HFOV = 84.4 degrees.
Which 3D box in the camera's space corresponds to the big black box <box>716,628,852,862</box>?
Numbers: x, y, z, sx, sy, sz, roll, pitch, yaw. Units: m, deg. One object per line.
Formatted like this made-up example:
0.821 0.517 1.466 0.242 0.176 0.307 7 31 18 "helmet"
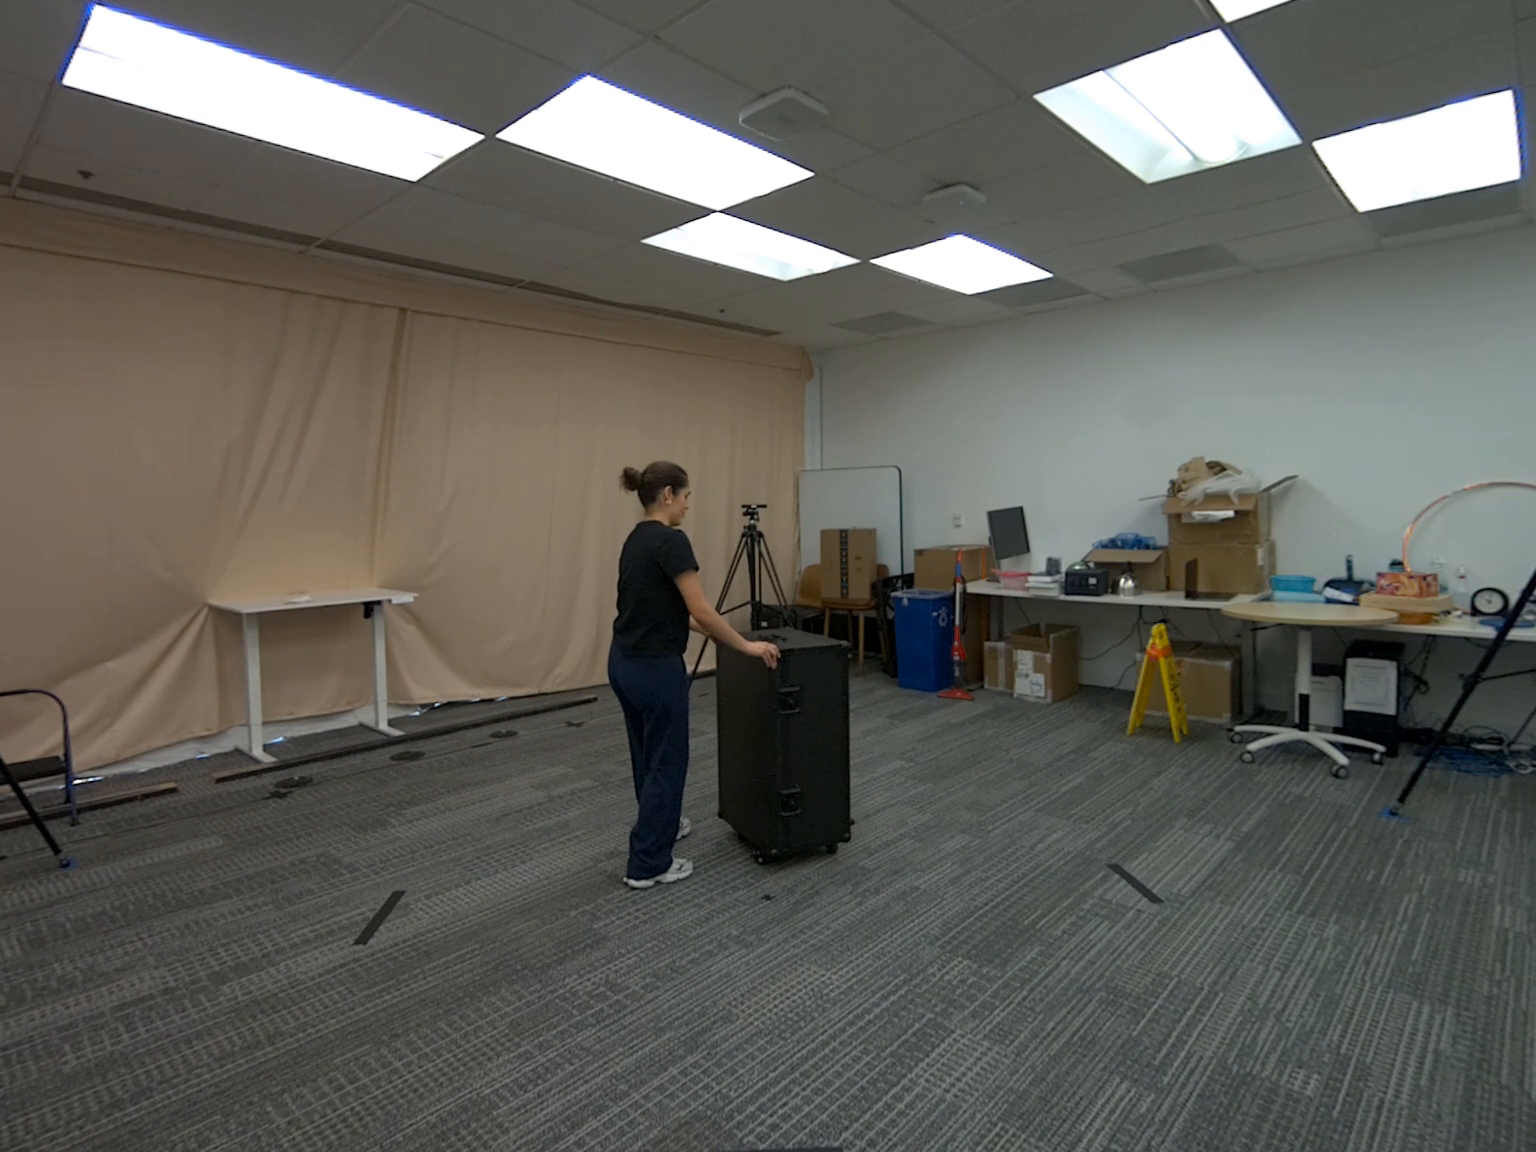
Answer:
0.070 0.676 3.428 0.387 0.860 0.535 -1 3 -26 "big black box"
